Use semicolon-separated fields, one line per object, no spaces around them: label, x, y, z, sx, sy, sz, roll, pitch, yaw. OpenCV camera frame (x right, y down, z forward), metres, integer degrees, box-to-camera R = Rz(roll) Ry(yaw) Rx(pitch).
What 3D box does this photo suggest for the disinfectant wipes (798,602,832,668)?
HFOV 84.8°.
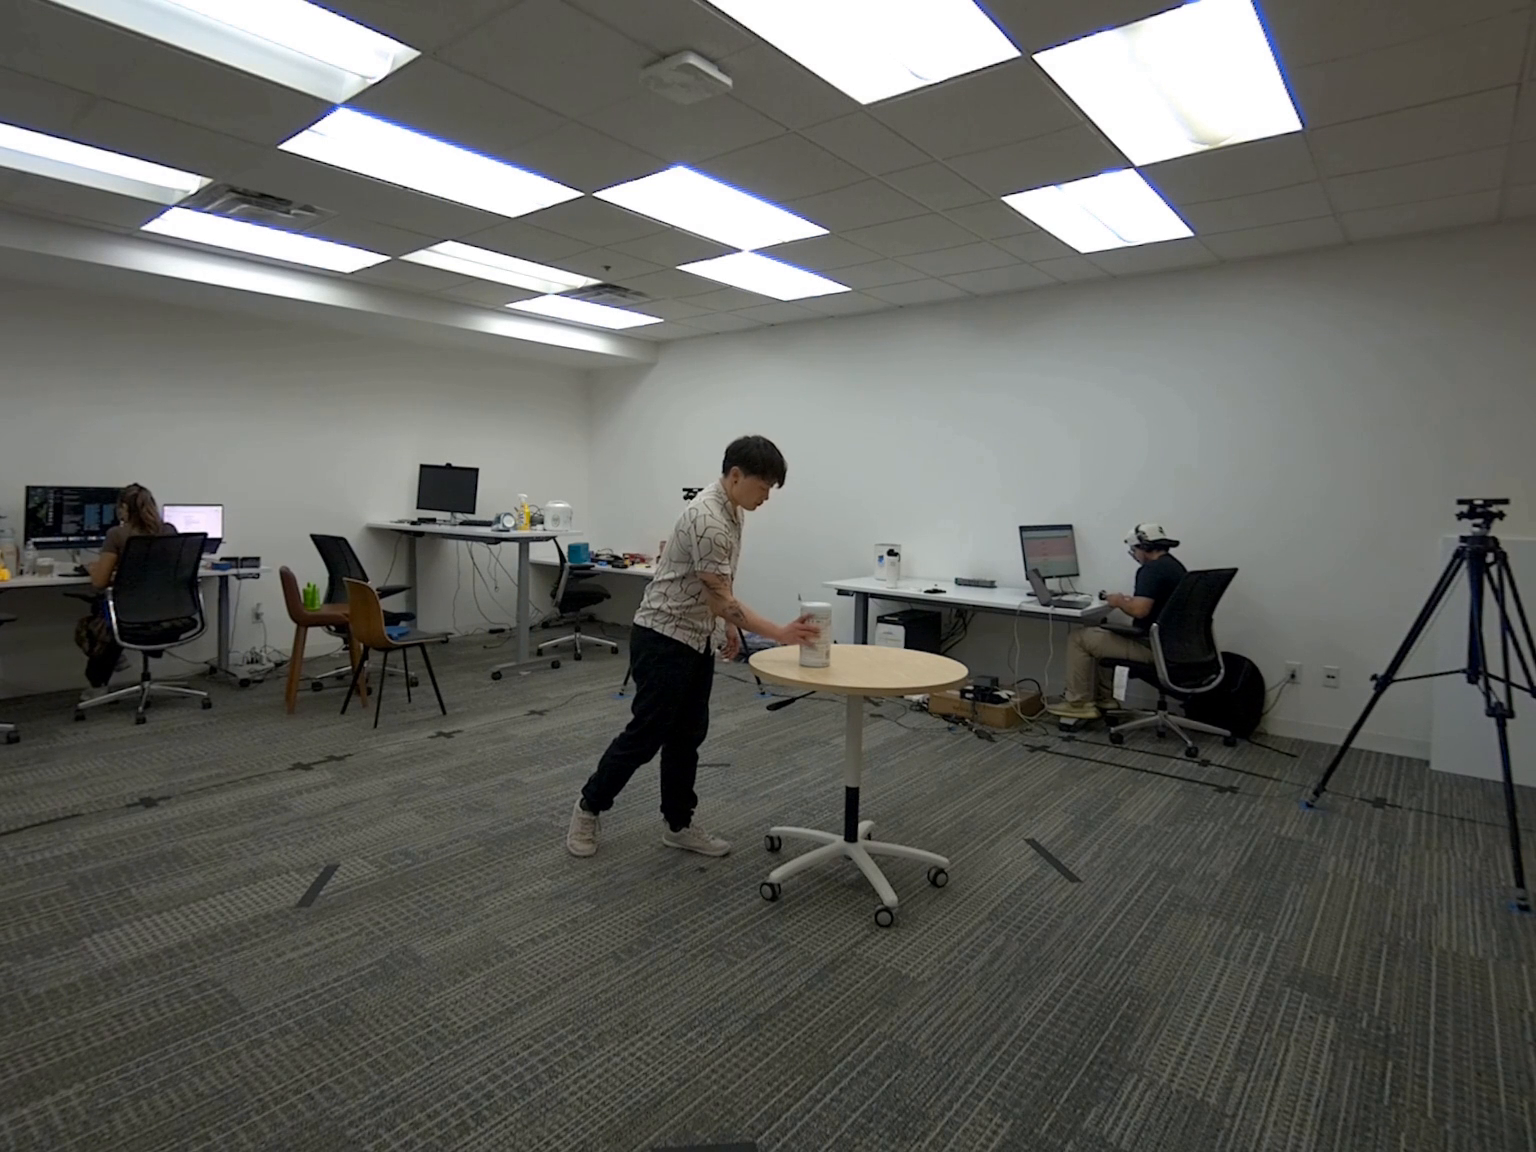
disinfectant wipes;0.159;0.204;2.972;0.117;0.217;0.118;2;3;-2
